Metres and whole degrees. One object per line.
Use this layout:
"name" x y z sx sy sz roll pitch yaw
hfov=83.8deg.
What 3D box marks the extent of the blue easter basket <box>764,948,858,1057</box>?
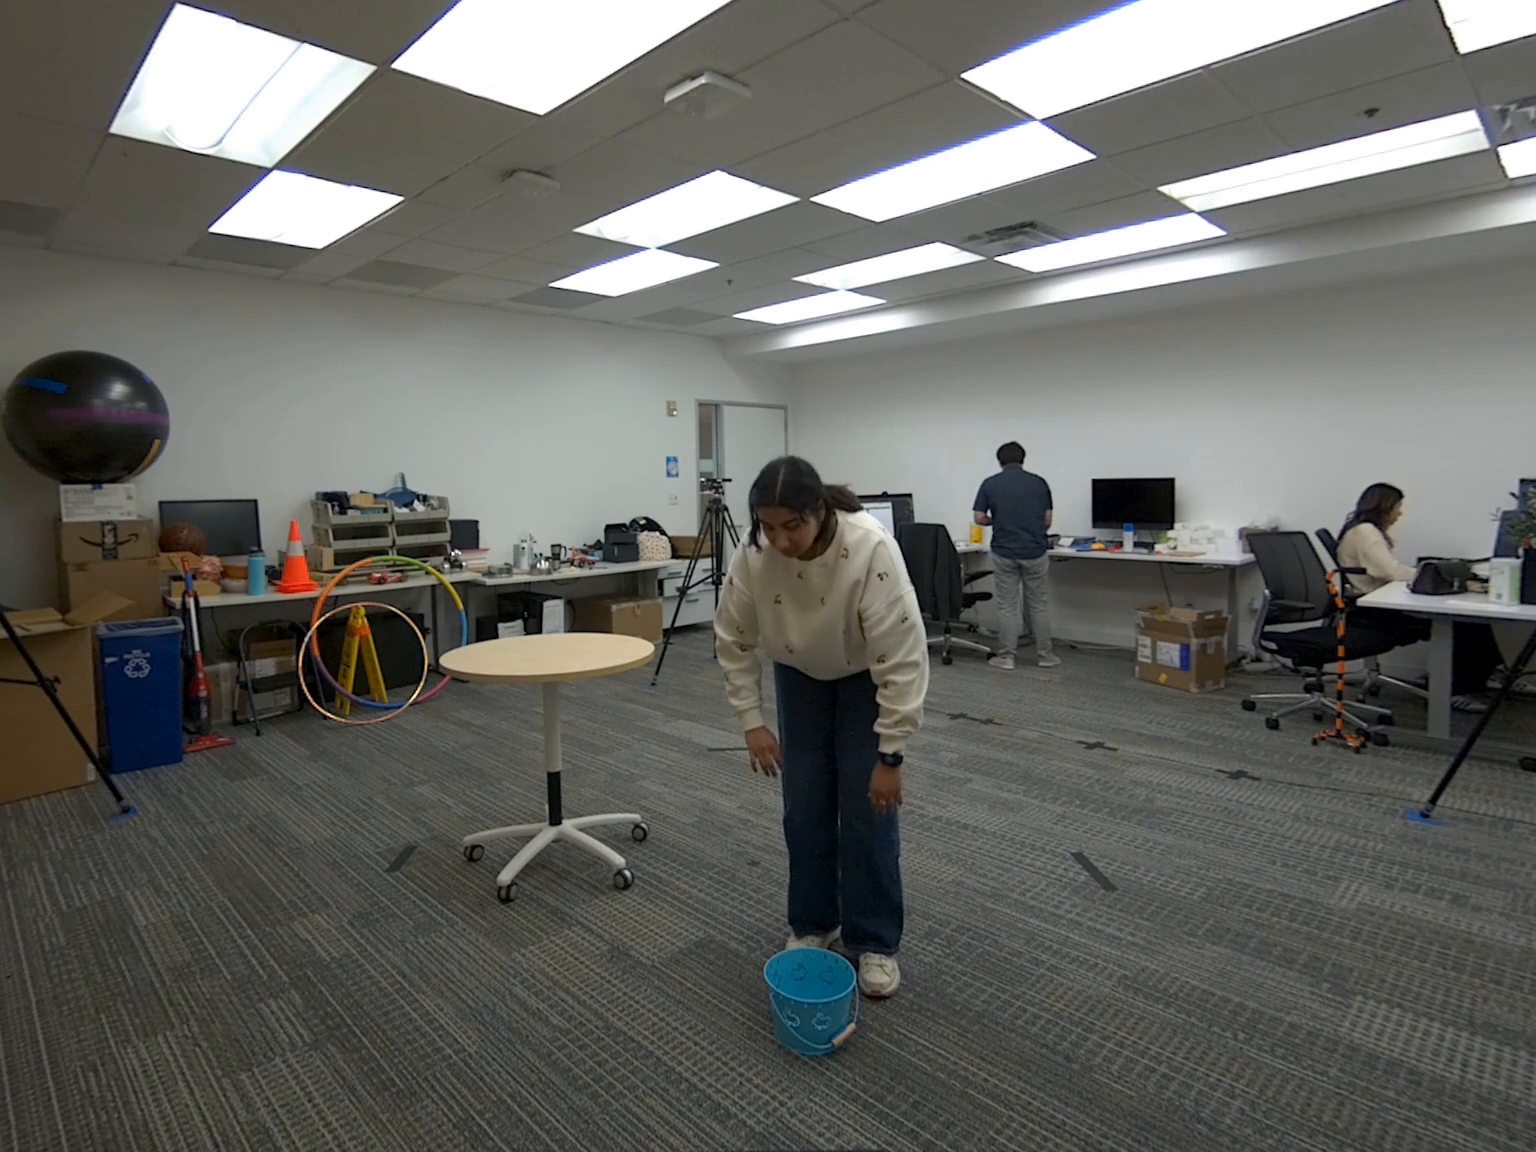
"blue easter basket" 0.111 1.080 2.151 0.243 0.155 0.245 -2 6 -2
